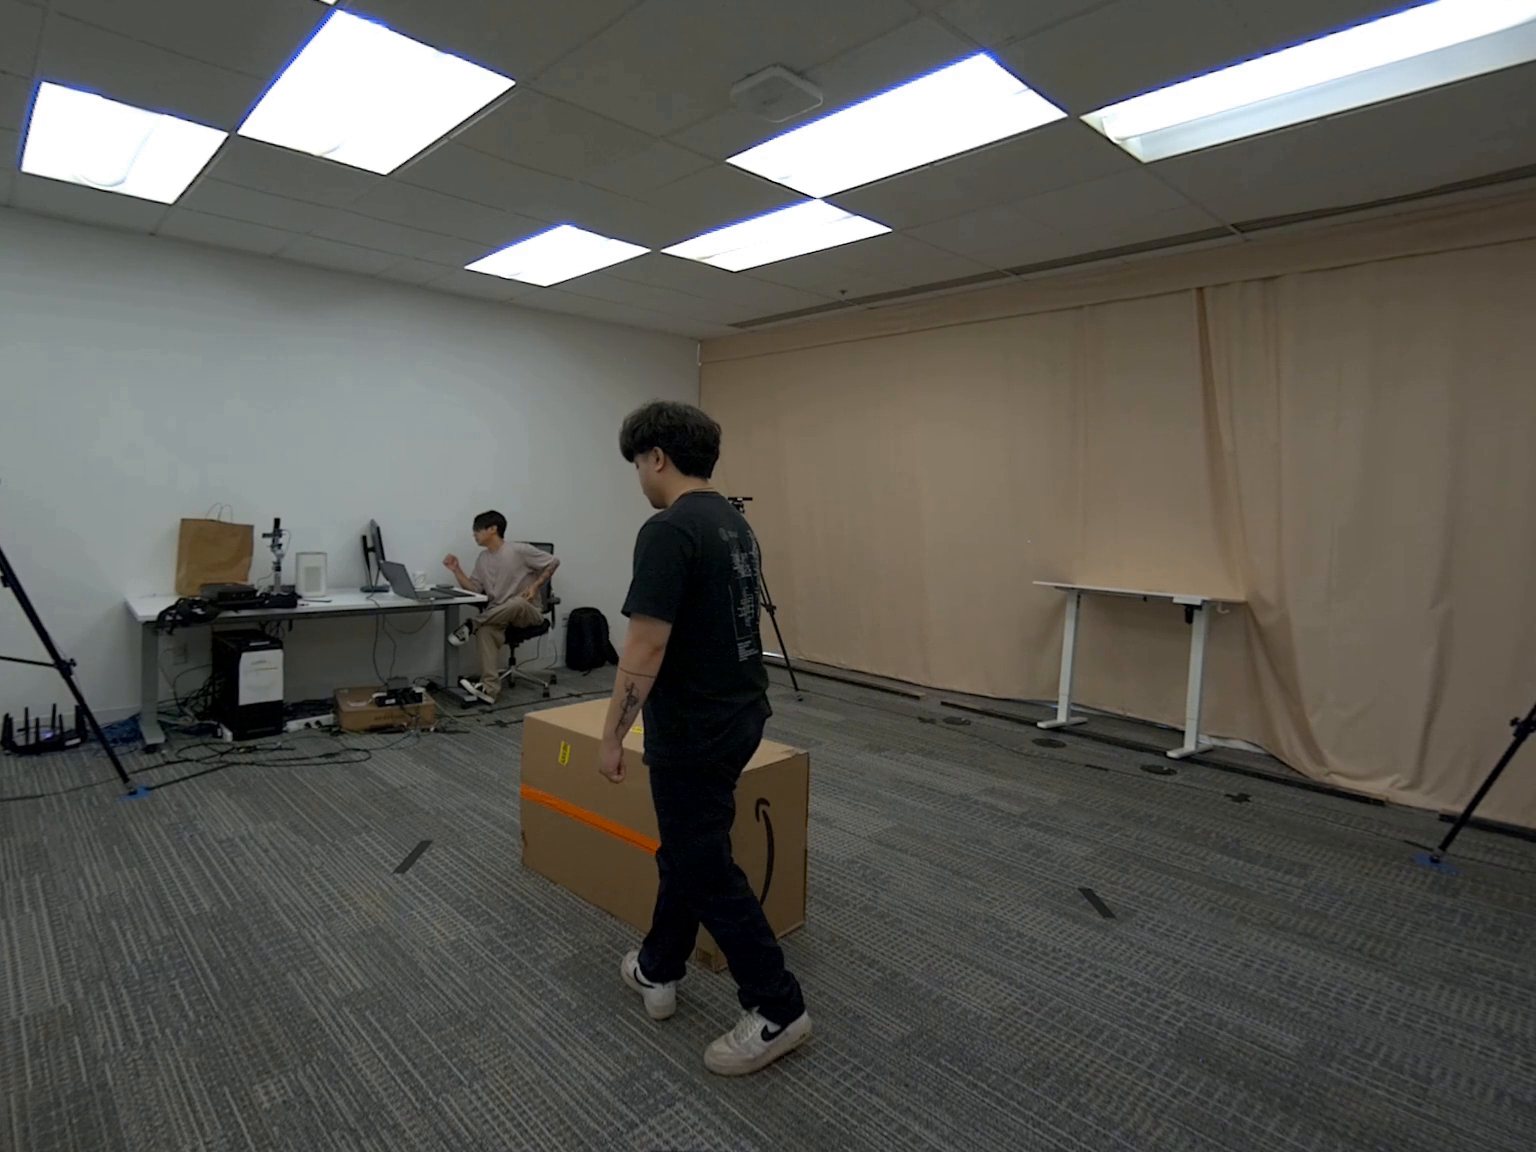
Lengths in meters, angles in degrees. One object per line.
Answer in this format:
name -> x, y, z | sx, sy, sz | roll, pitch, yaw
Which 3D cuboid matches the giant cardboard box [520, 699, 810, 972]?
giant cardboard box -> -0.403, 0.832, 2.949 | 1.053, 0.582, 0.437 | 5, 6, 41
